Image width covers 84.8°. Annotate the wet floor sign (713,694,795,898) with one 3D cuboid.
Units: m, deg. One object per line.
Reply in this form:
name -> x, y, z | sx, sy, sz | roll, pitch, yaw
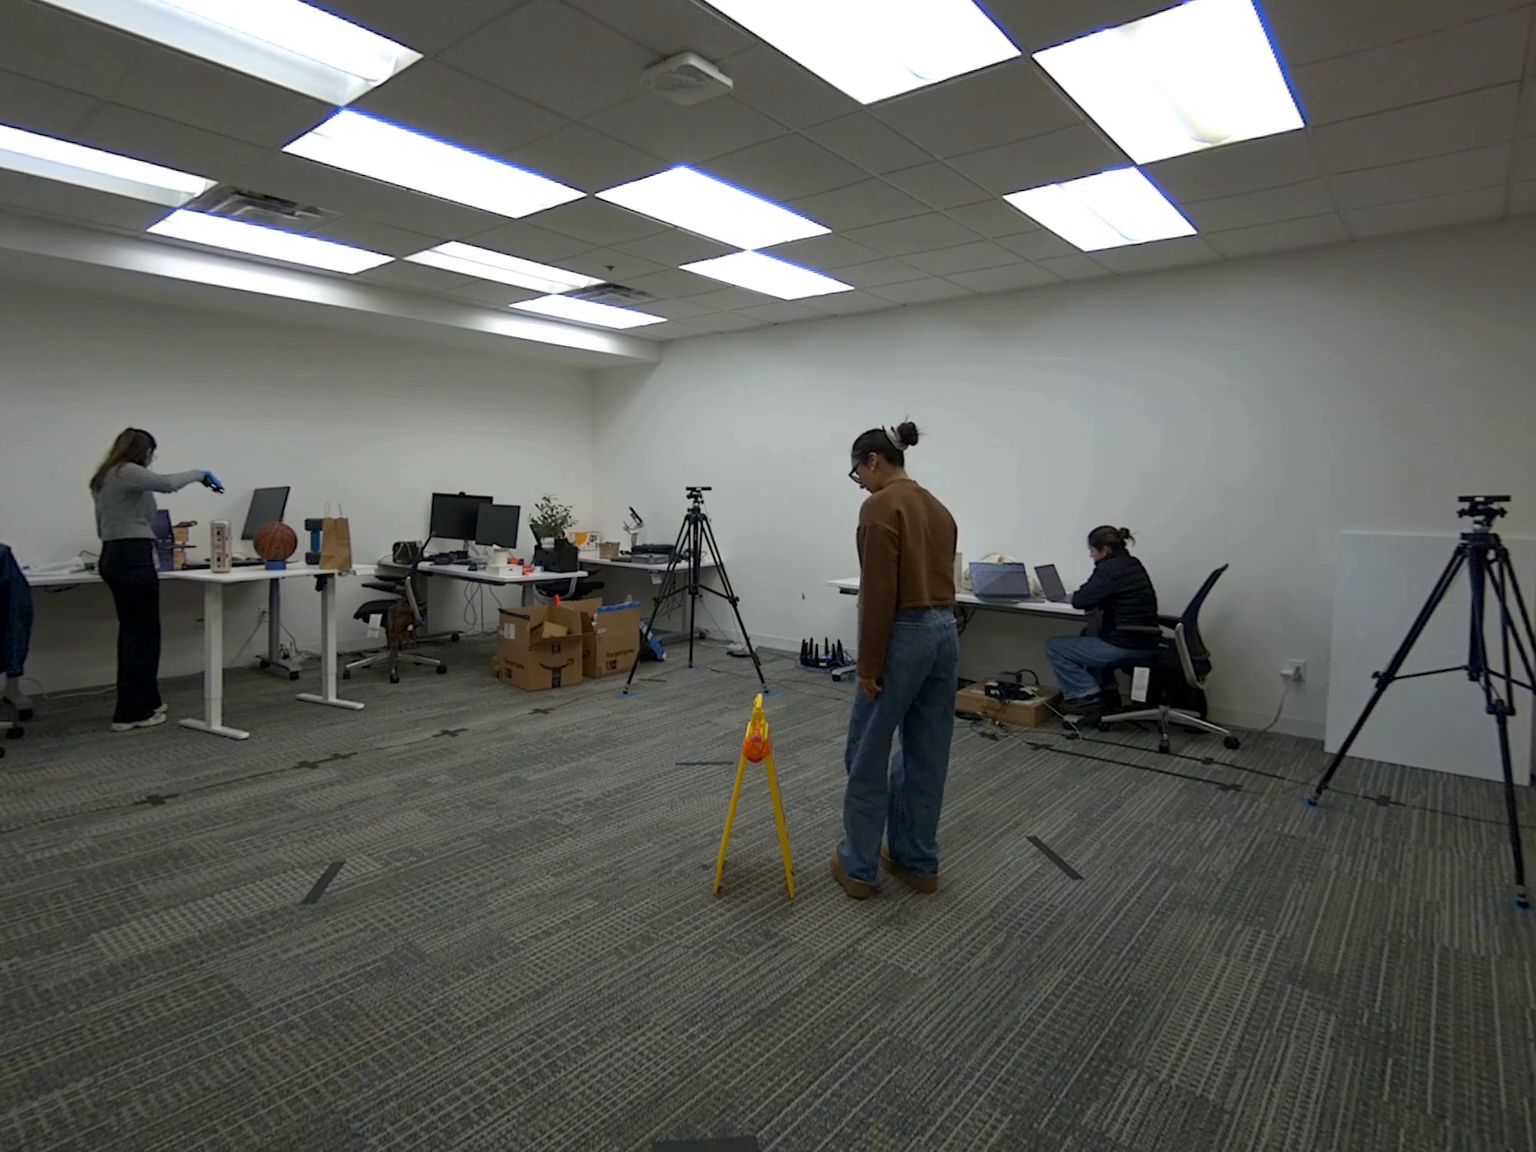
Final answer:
wet floor sign -> -0.047, 0.759, 3.025 | 0.291, 0.644, 0.282 | 2, 3, 3
